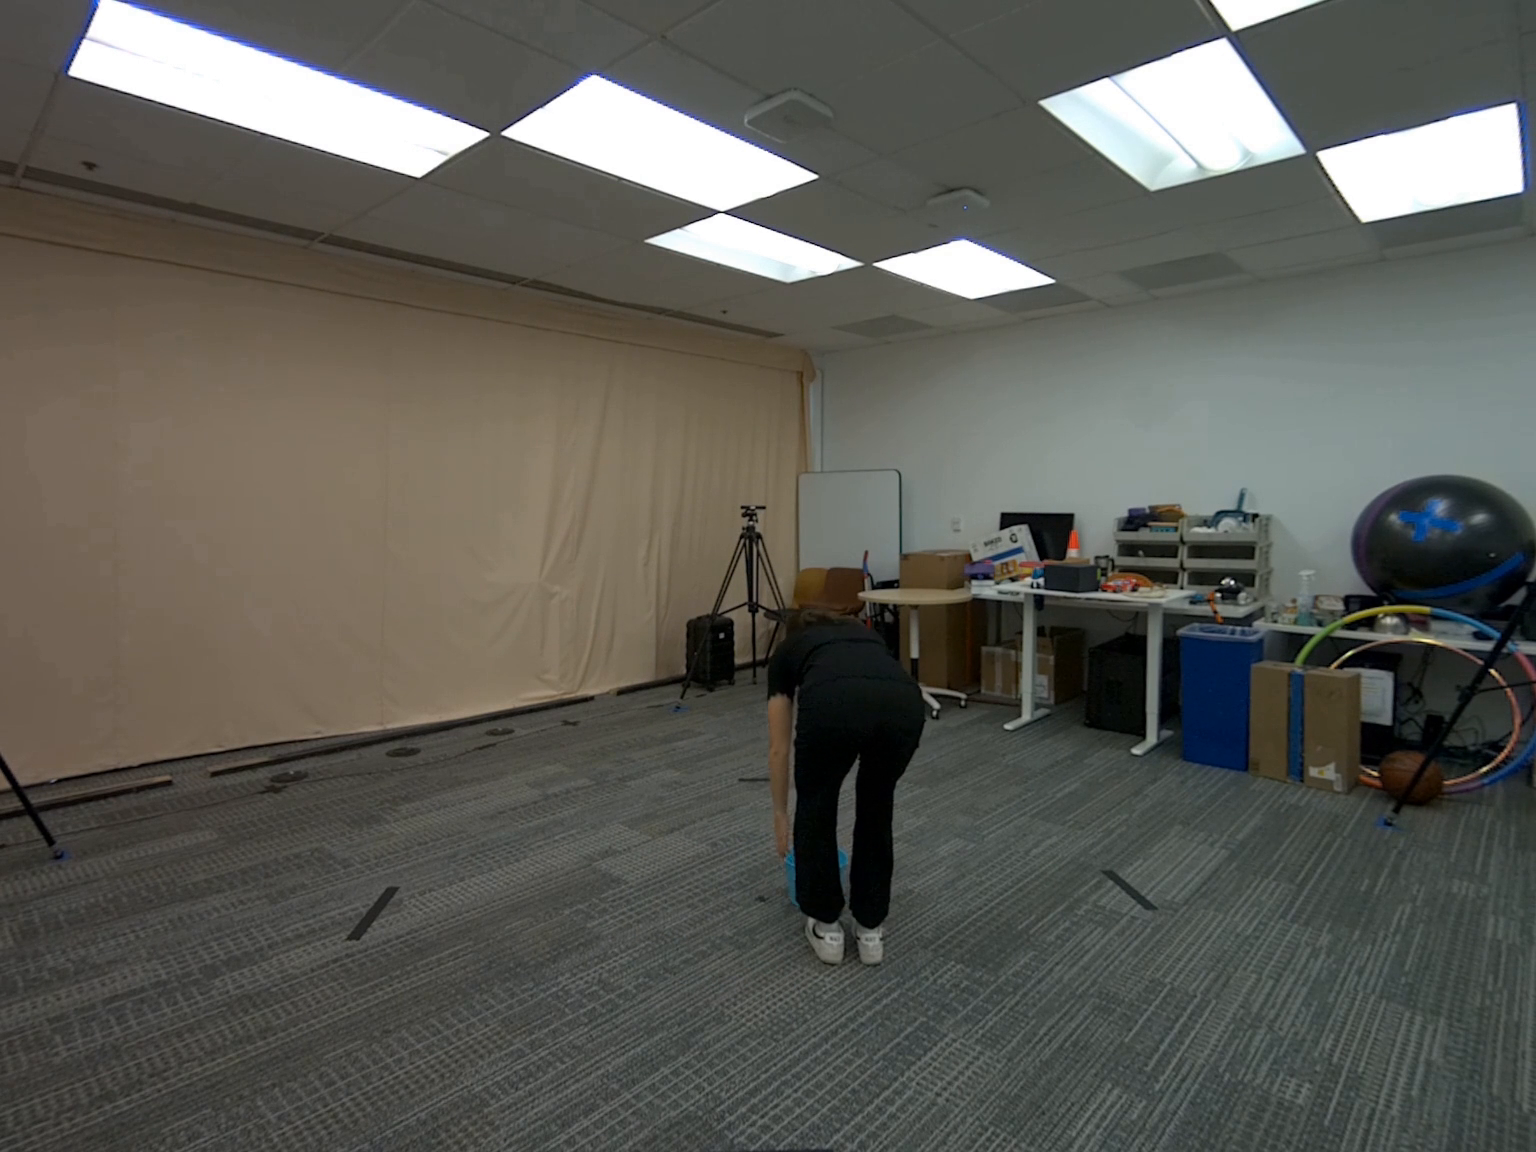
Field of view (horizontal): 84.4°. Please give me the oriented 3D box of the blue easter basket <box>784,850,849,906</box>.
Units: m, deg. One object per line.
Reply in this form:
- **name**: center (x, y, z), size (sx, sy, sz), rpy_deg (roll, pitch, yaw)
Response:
- **blue easter basket**: center (0.178, 1.064, 2.984), size (0.243, 0.155, 0.244), rpy_deg (0, 5, -2)
